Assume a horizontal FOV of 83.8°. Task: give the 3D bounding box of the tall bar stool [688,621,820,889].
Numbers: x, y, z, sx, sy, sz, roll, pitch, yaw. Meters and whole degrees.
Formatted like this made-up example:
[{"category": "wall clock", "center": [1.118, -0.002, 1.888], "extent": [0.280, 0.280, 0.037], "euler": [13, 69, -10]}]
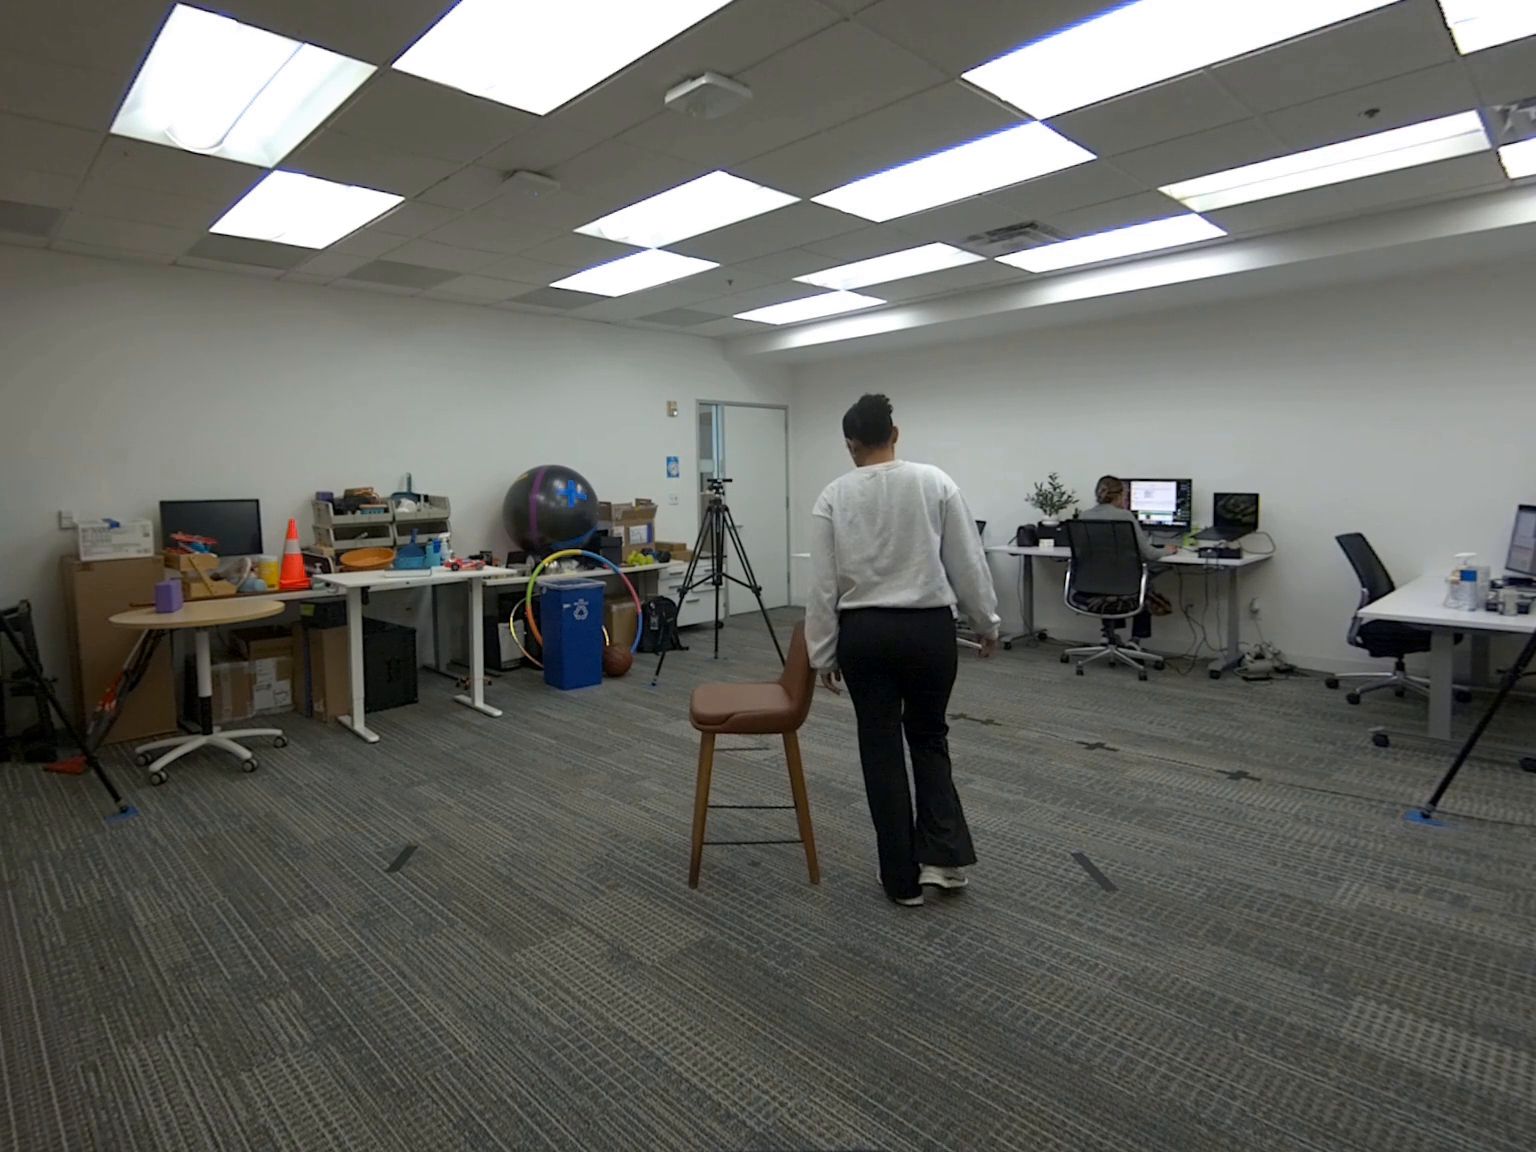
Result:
[{"category": "tall bar stool", "center": [-0.045, 0.614, 3.092], "extent": [0.466, 0.886, 0.459], "euler": [1, 4, -4]}]
